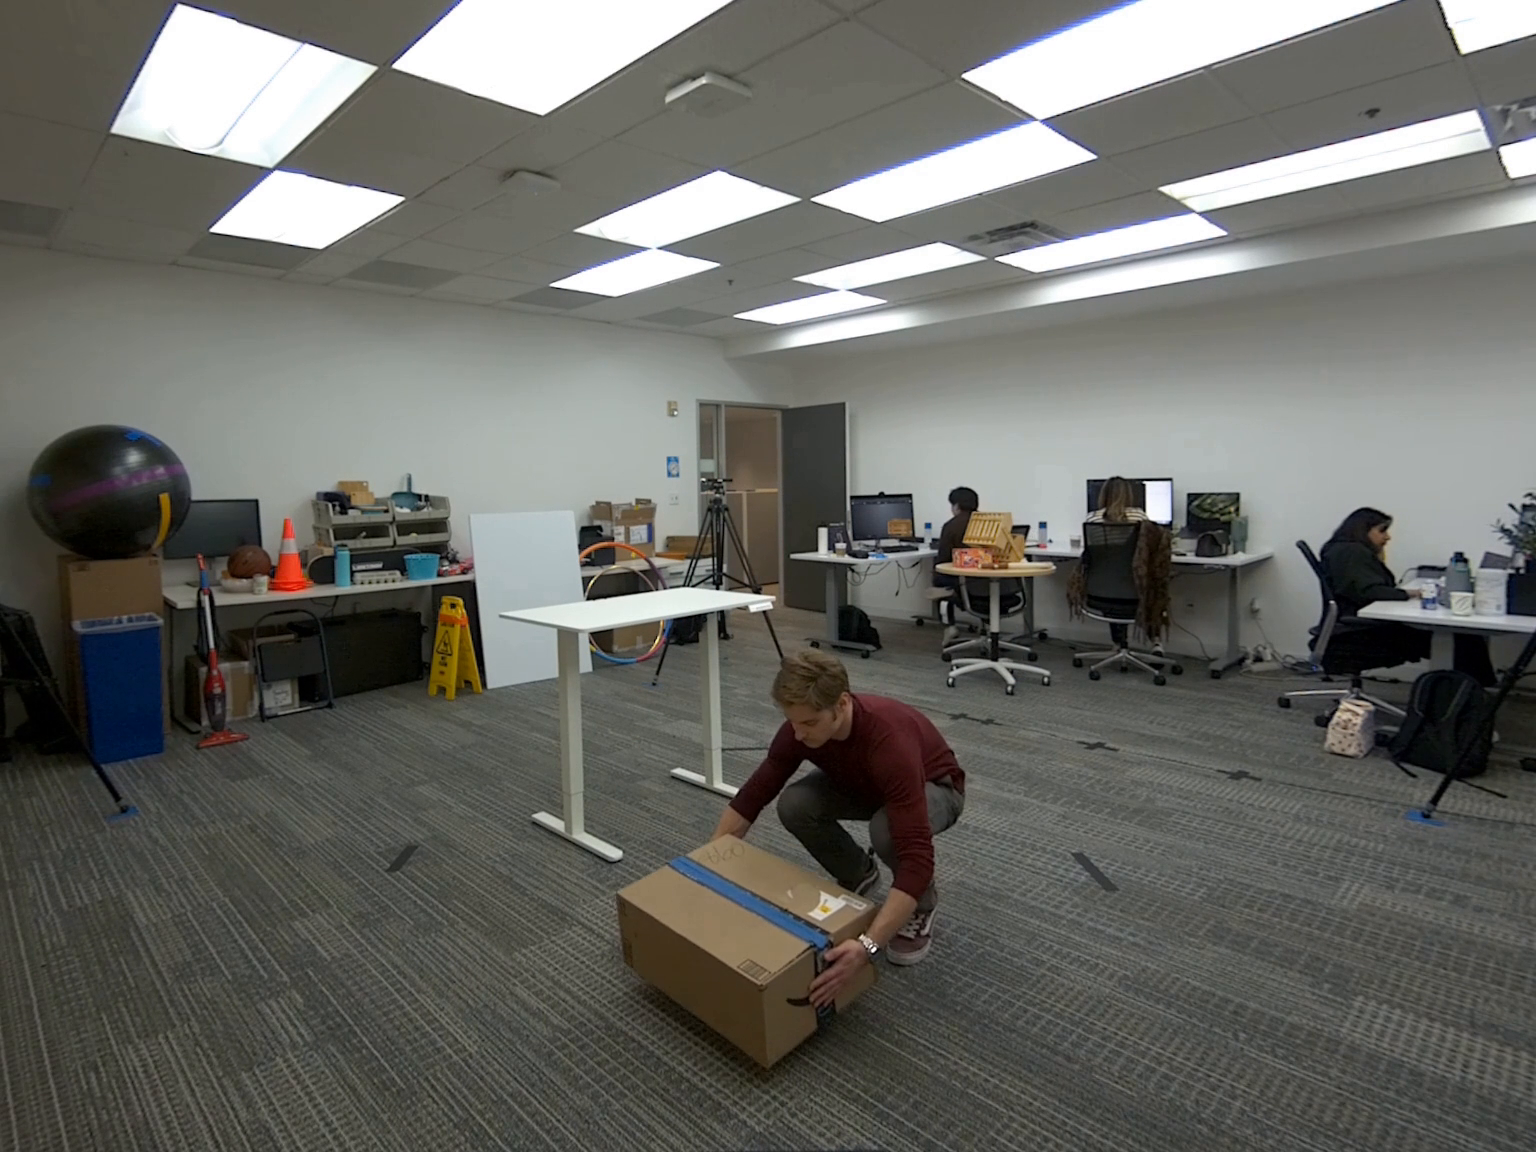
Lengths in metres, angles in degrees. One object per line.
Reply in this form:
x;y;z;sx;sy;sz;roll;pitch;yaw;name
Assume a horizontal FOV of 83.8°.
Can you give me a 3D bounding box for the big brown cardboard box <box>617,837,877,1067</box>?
-0.062;0.951;2.255;0.408;0.231;0.608;-14;15;-41;big brown cardboard box
